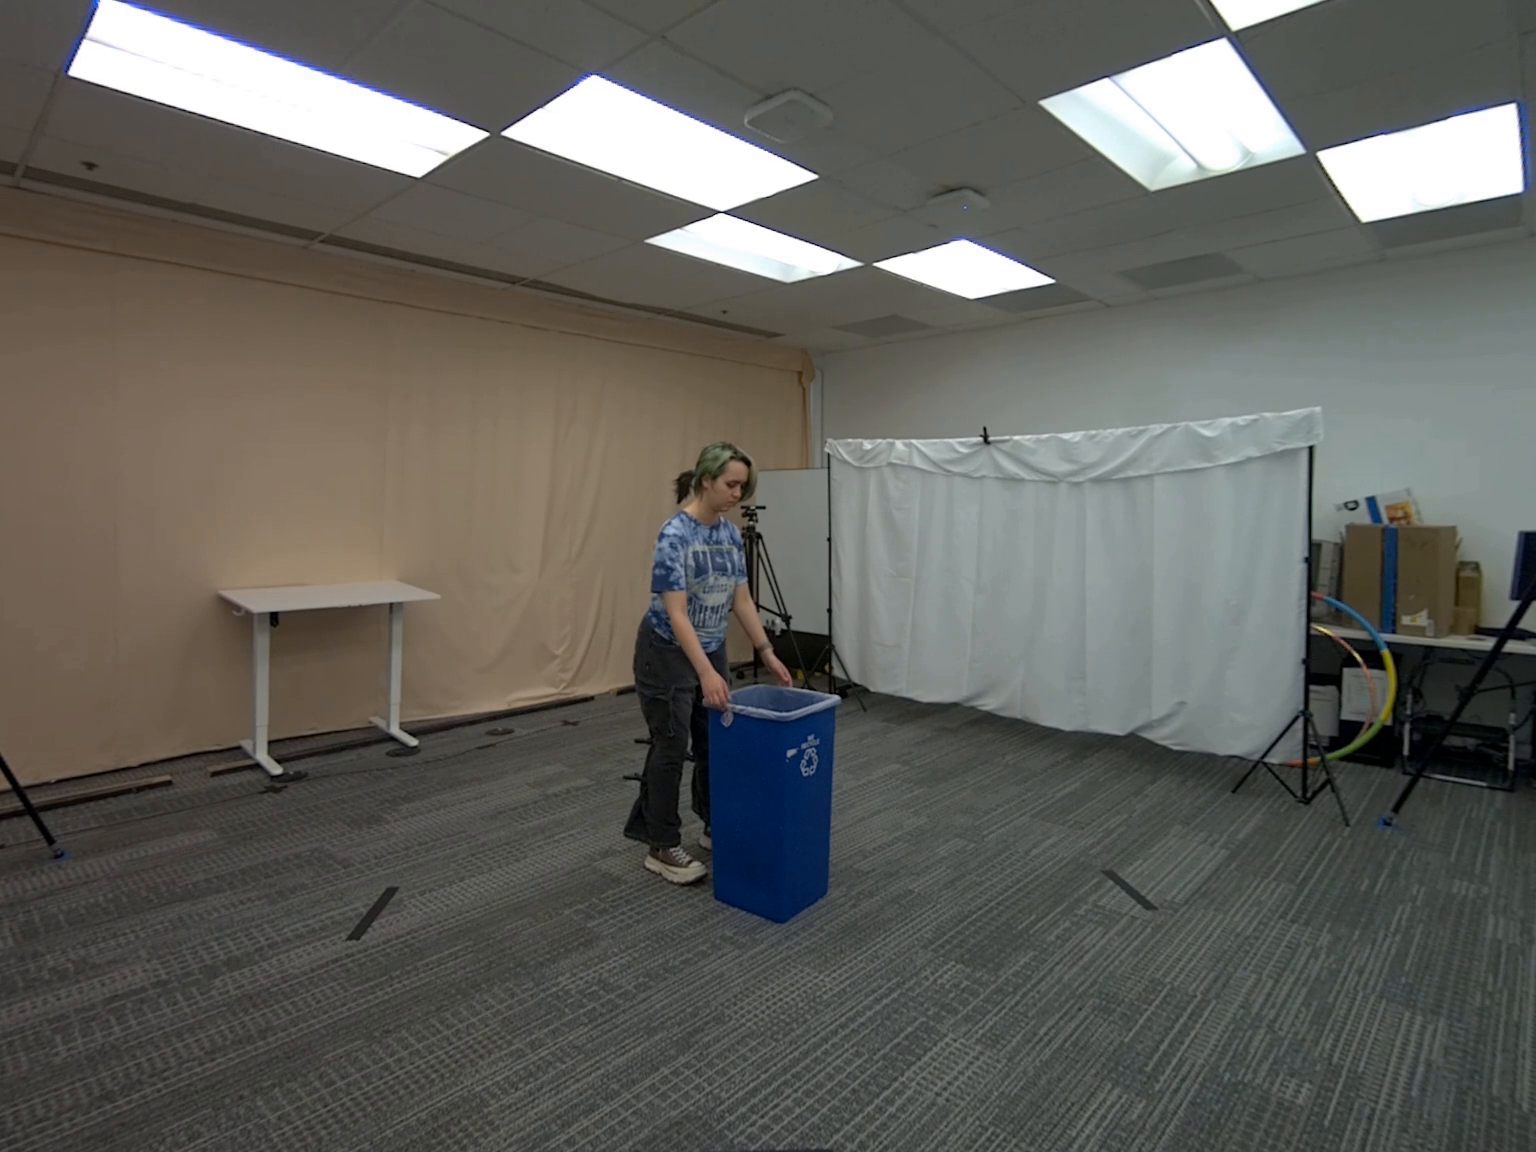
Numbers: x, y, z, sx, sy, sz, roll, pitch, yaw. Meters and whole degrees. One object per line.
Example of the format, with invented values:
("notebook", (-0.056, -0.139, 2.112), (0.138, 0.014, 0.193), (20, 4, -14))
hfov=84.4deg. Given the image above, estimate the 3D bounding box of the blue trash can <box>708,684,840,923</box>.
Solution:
("blue trash can", (0.021, 0.784, 2.991), (0.390, 0.712, 0.363), (3, 5, 37))
